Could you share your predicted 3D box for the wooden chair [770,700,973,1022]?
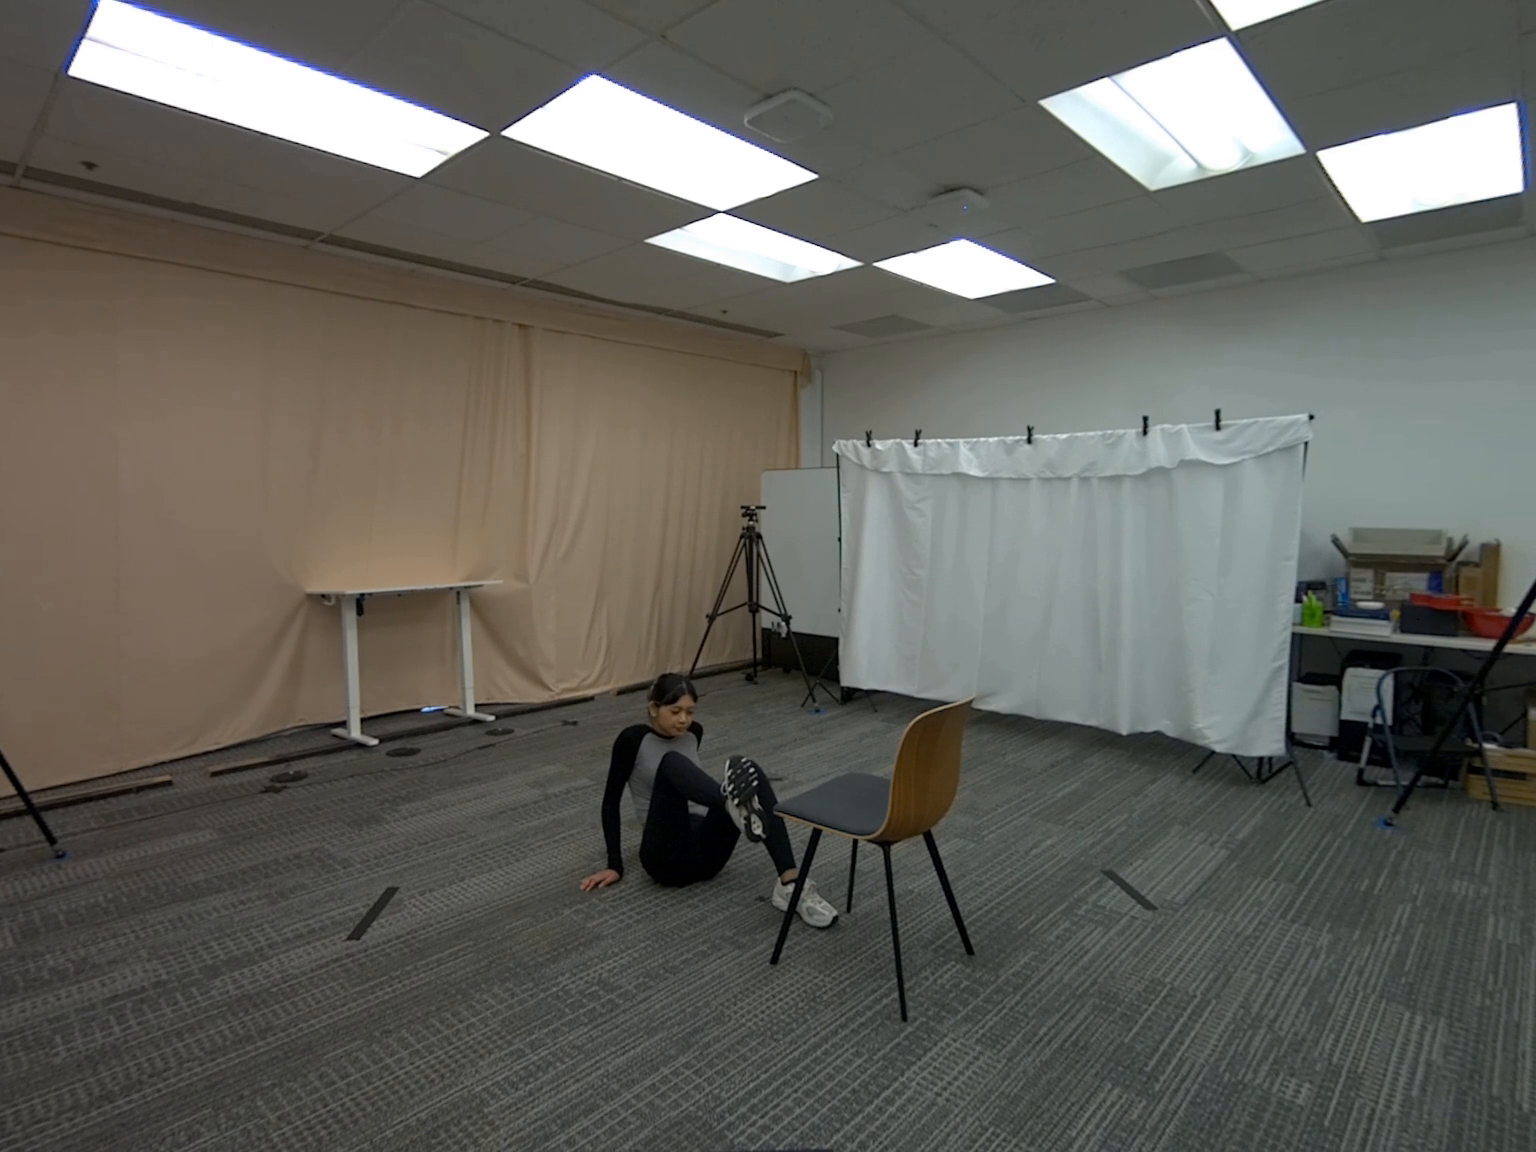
[{"bbox_3d":[0.322,0.752,2.557,0.541,0.874,0.464,8,8,38],"label":"wooden chair"}]
